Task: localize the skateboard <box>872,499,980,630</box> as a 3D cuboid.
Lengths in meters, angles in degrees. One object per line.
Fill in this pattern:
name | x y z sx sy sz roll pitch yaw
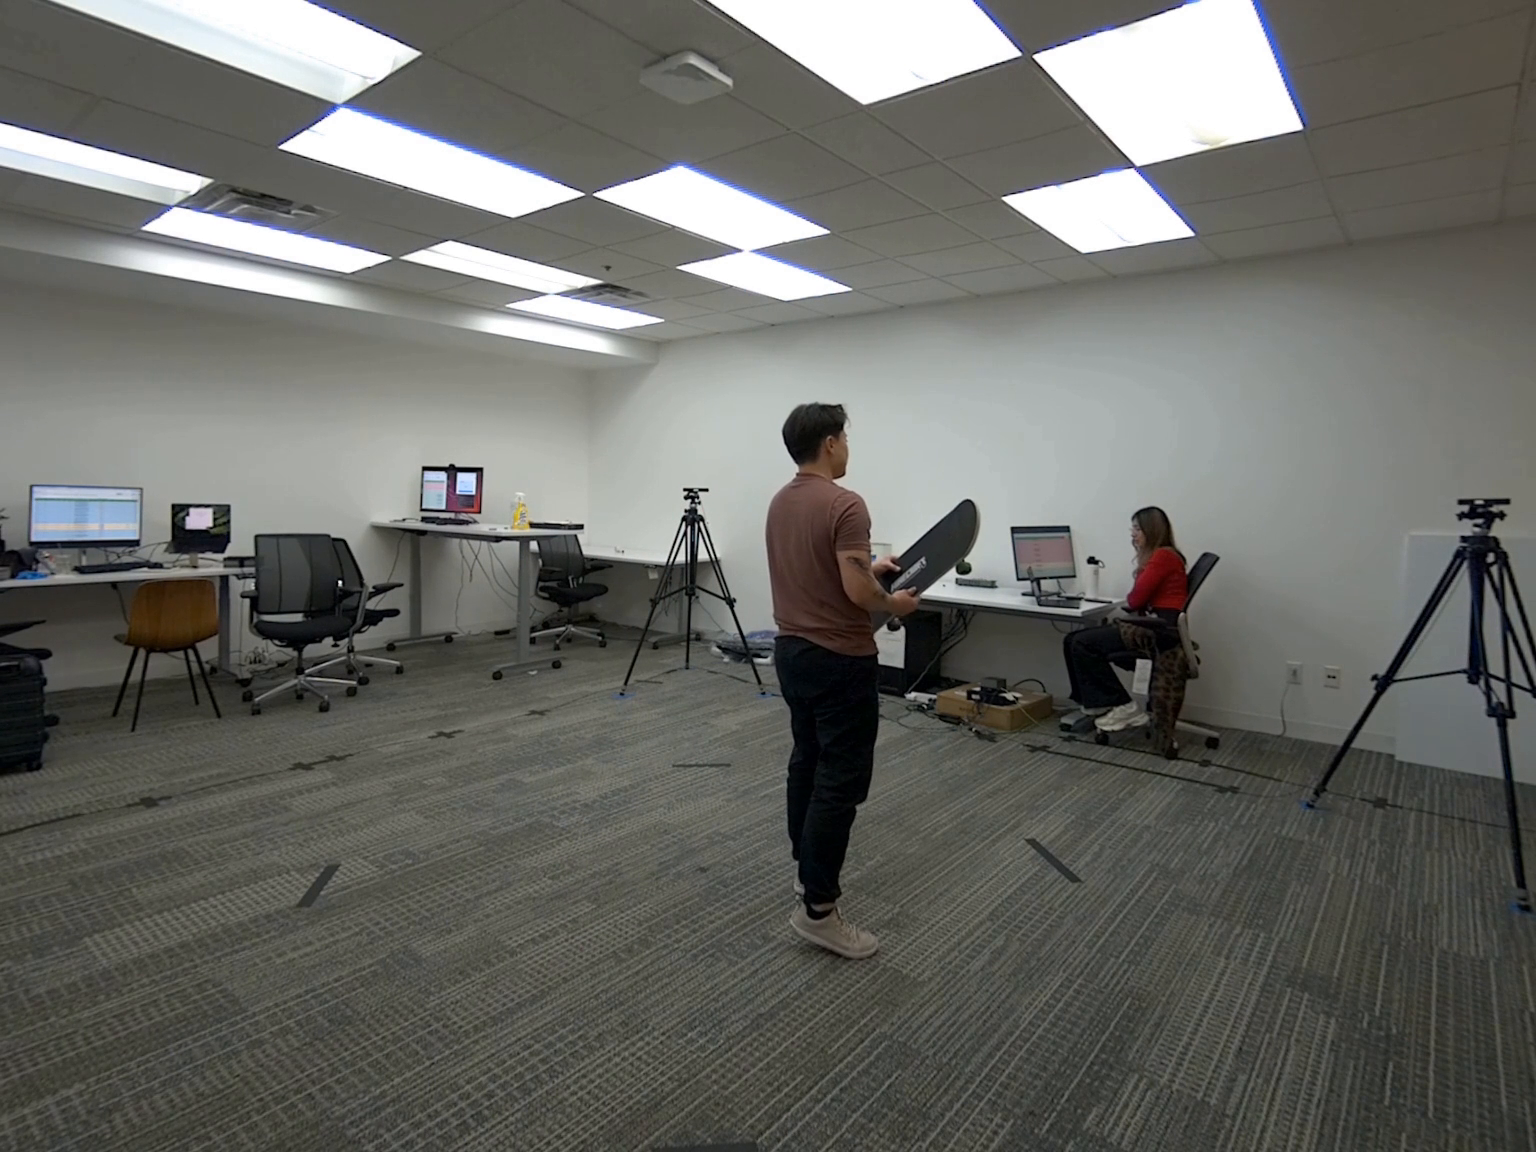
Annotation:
skateboard | 0.507 0.004 2.928 0.107 0.199 0.784 15 -38 -24
